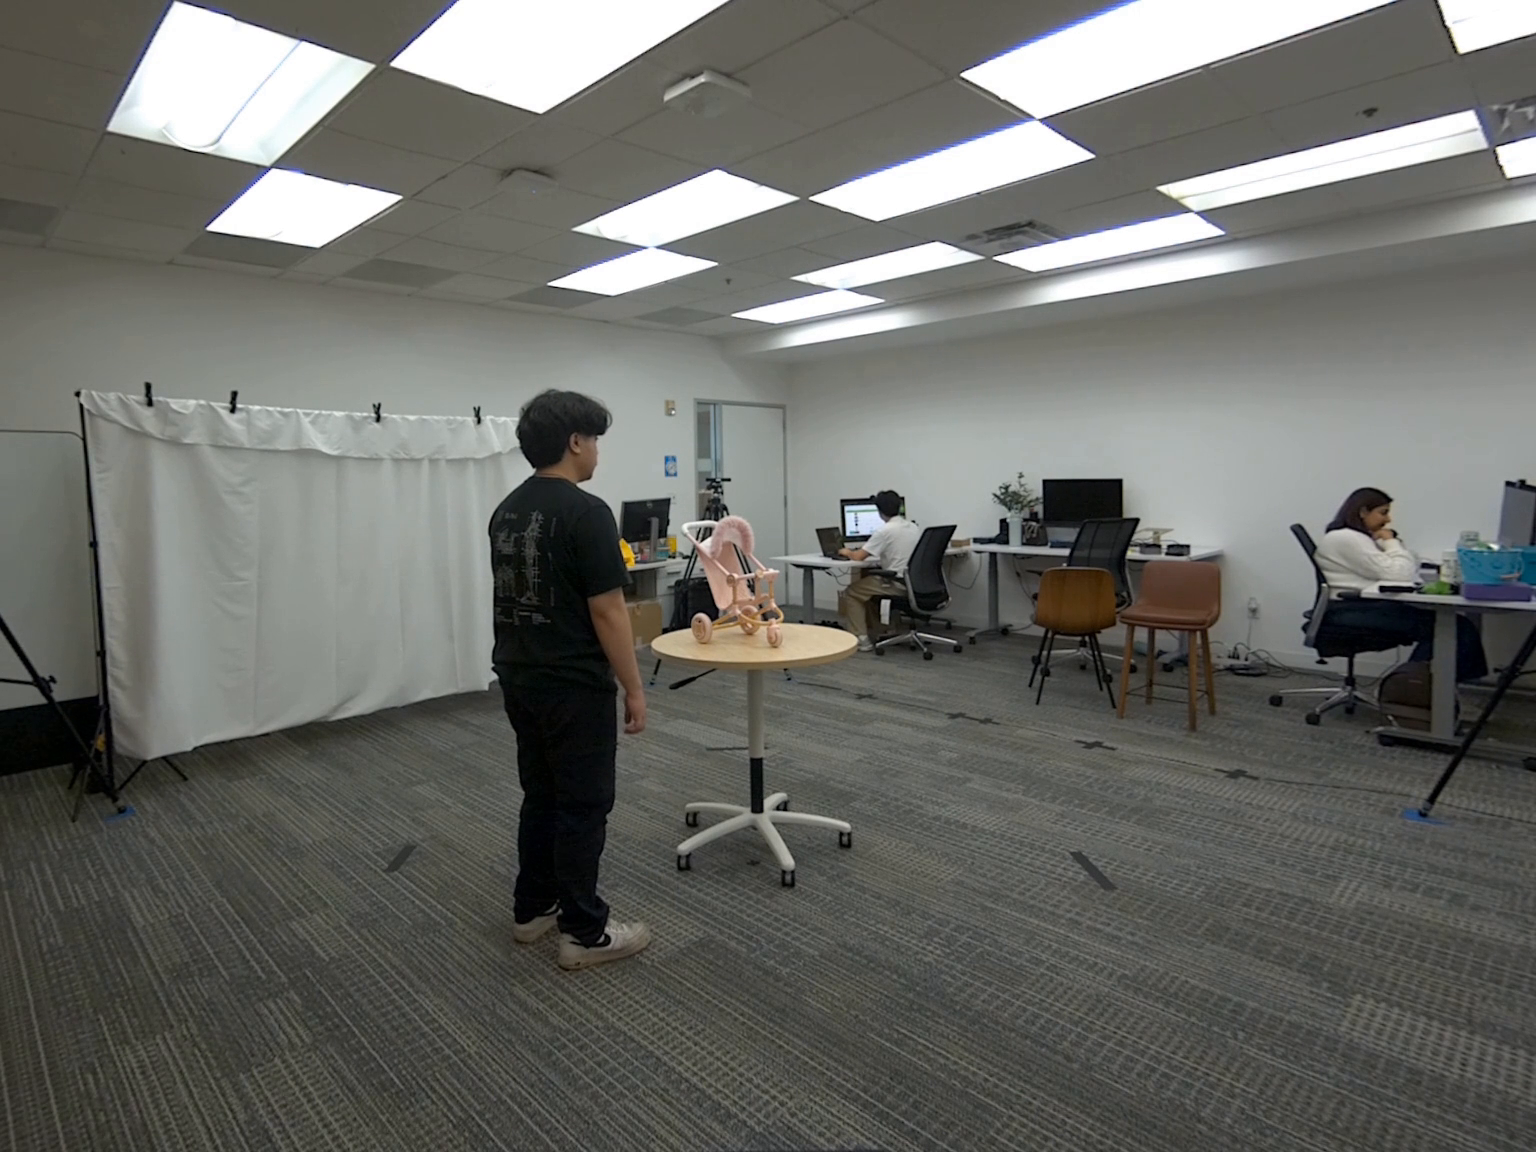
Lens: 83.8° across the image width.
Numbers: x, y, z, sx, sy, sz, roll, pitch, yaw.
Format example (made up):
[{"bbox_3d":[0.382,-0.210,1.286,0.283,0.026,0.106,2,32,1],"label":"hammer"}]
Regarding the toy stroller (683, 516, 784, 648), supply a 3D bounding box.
[{"bbox_3d":[-0.116,0.017,3.177,0.274,0.540,0.347,-5,-10,-39],"label":"toy stroller"}]
